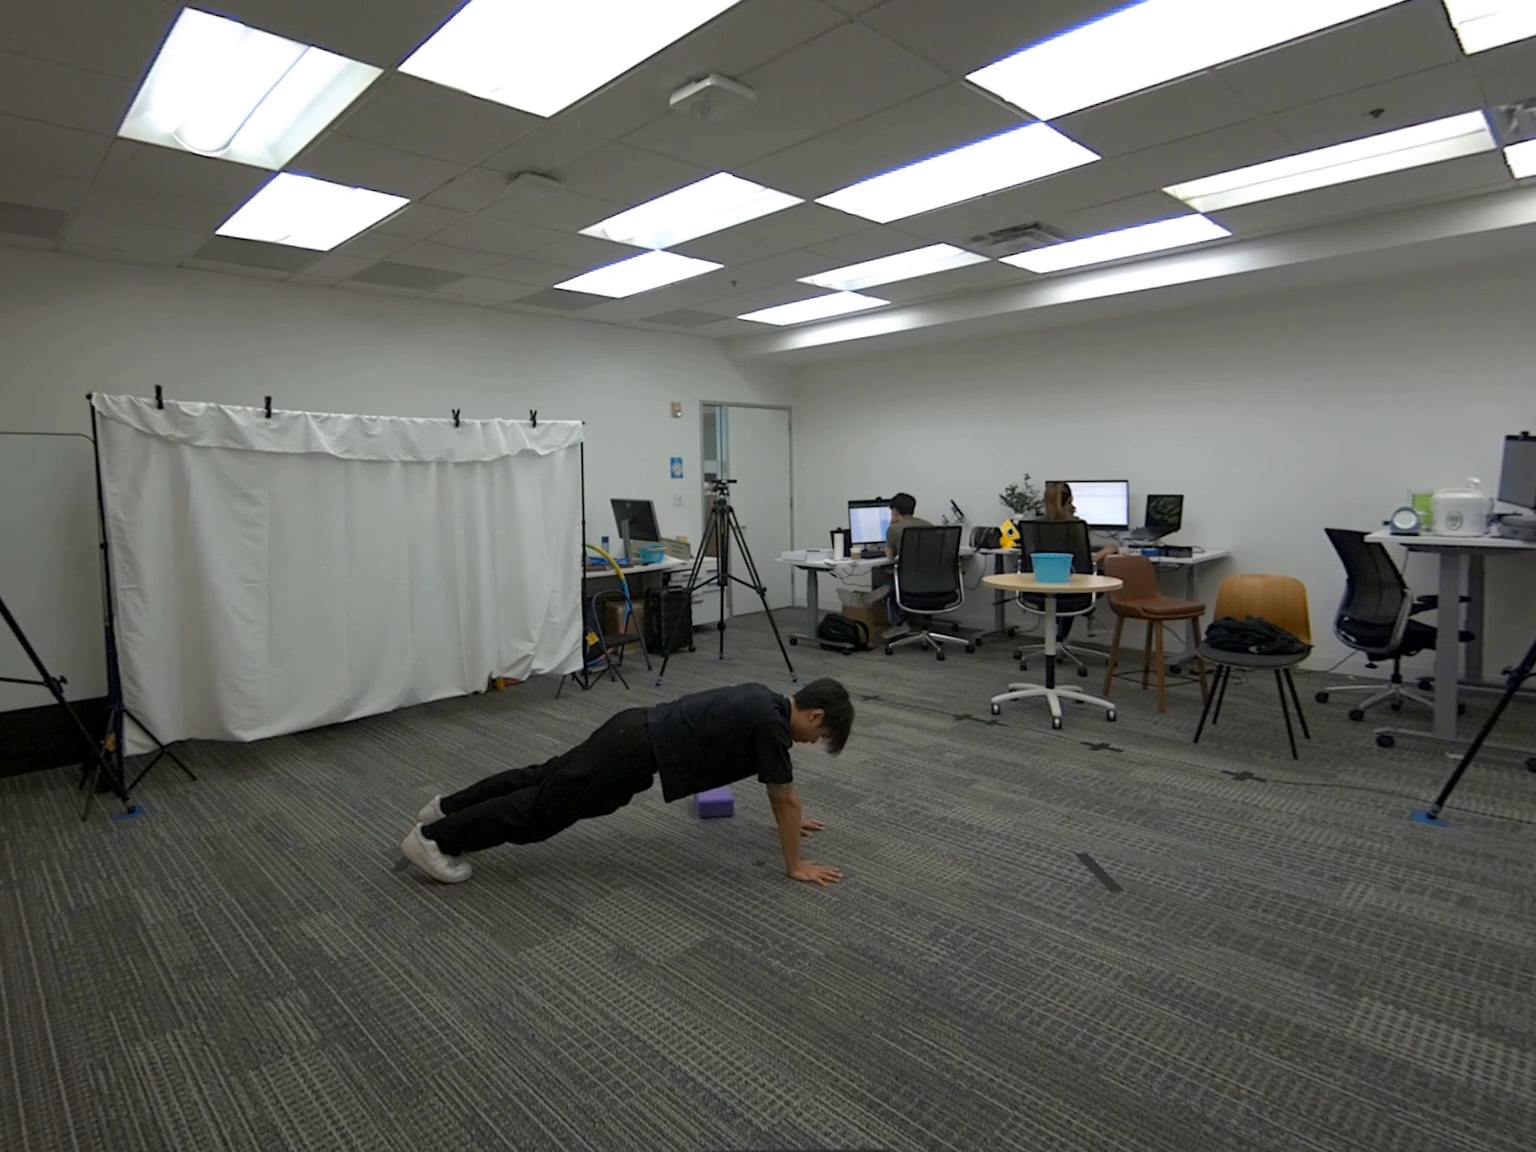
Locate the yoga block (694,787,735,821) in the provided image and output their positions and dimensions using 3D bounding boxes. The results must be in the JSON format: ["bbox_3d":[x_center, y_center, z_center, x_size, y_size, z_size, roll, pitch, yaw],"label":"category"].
[{"bbox_3d":[-0.230,0.948,3.647,0.148,0.076,0.233,-2,8,-10],"label":"yoga block"}]
